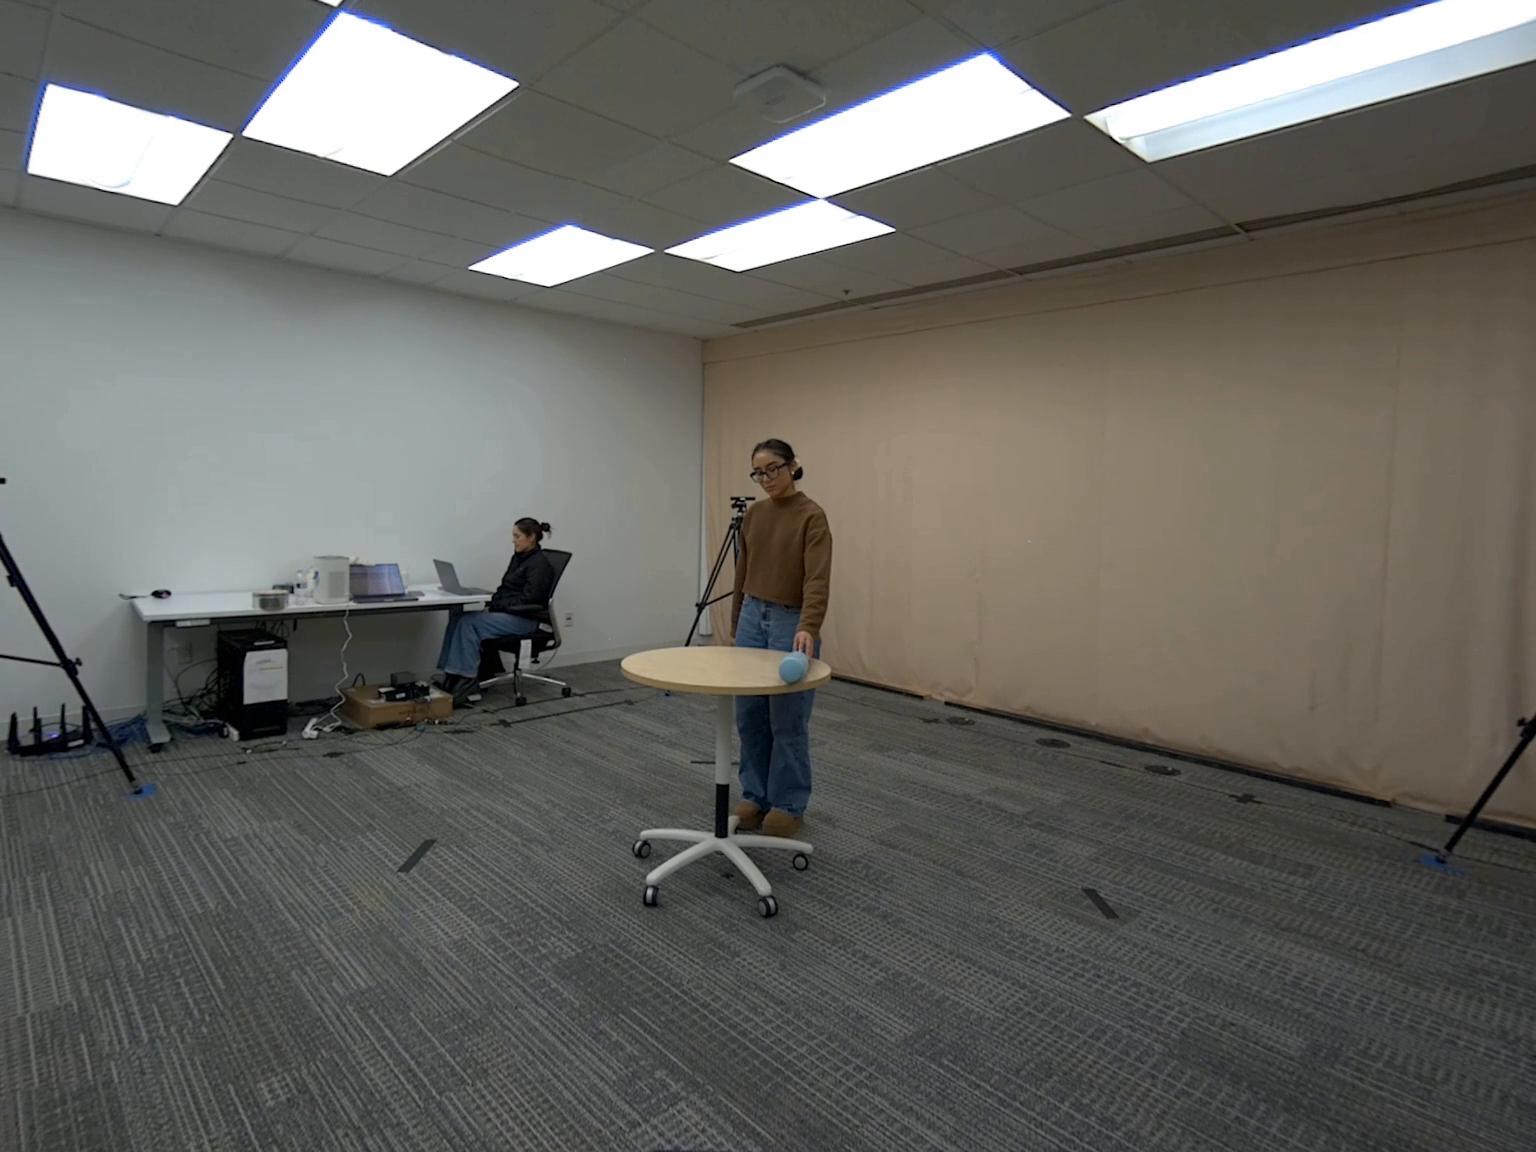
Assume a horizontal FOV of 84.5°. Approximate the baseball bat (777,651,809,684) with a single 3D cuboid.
[{"bbox_3d":[0.101,0.307,2.999,0.090,0.089,0.538,2,1,8],"label":"baseball bat"}]
